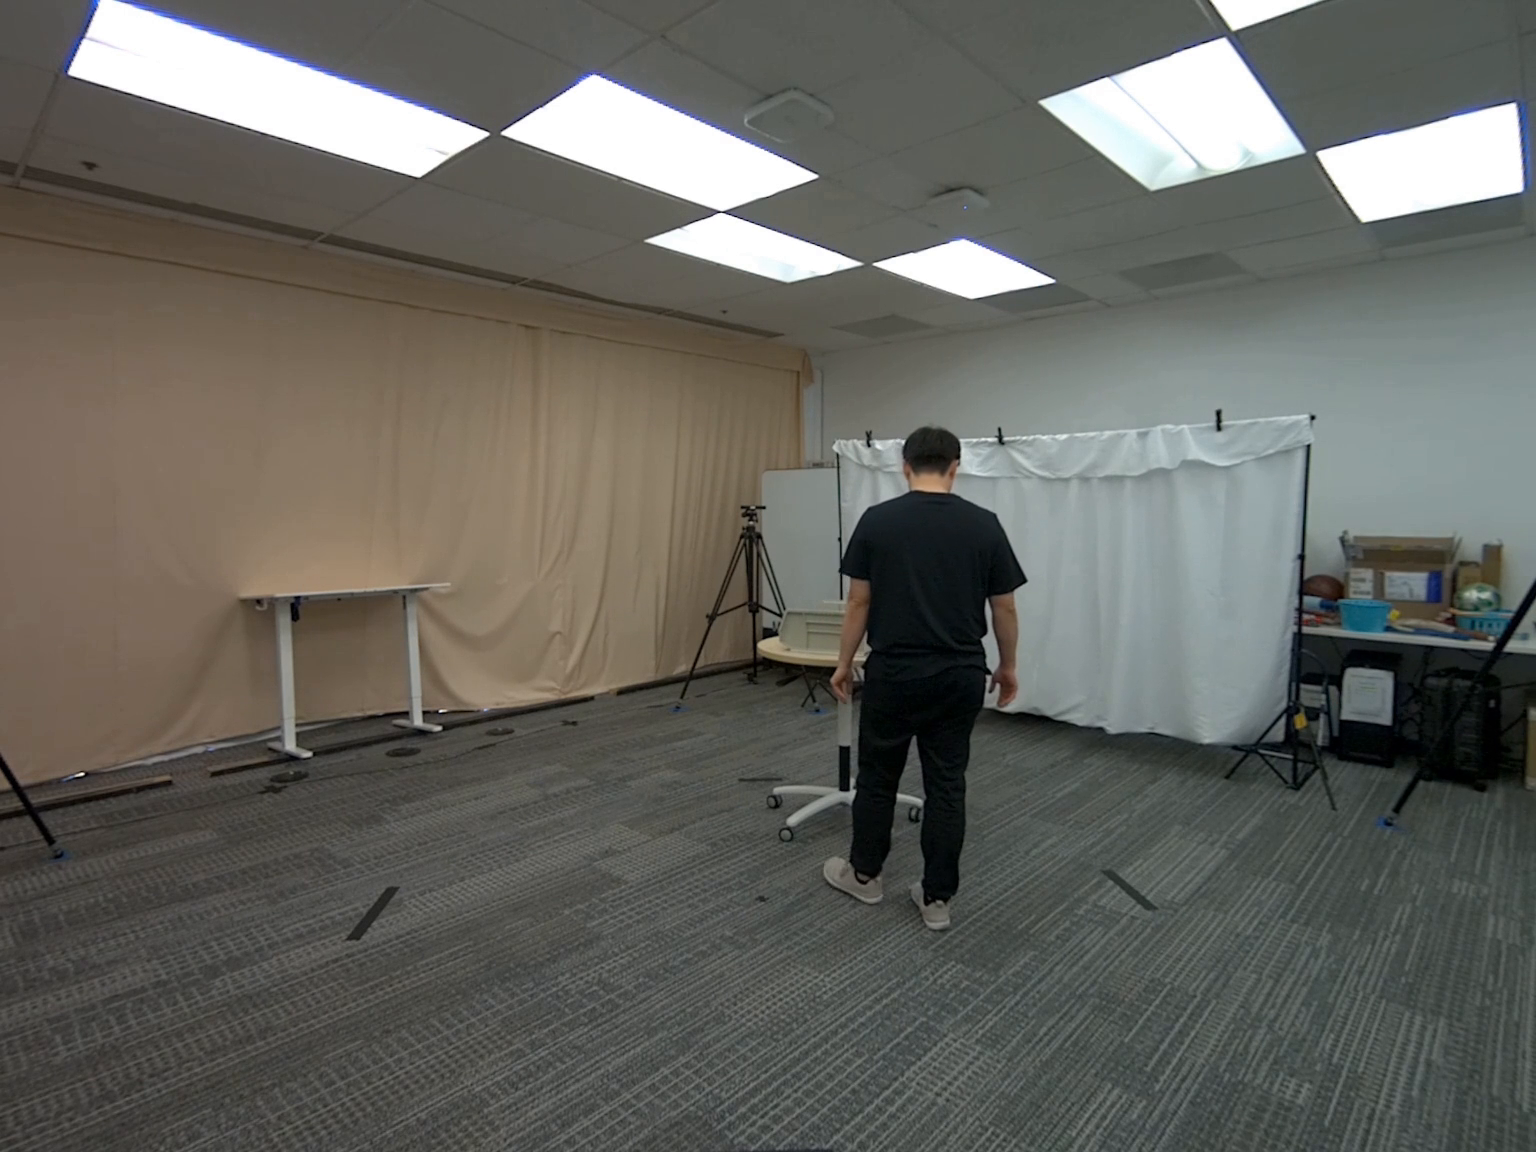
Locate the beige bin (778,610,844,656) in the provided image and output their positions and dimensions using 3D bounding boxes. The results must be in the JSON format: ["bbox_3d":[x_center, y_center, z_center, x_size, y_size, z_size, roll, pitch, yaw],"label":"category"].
[{"bbox_3d":[0.306,0.218,3.621,0.388,0.188,0.412,4,5,27],"label":"beige bin"}]
